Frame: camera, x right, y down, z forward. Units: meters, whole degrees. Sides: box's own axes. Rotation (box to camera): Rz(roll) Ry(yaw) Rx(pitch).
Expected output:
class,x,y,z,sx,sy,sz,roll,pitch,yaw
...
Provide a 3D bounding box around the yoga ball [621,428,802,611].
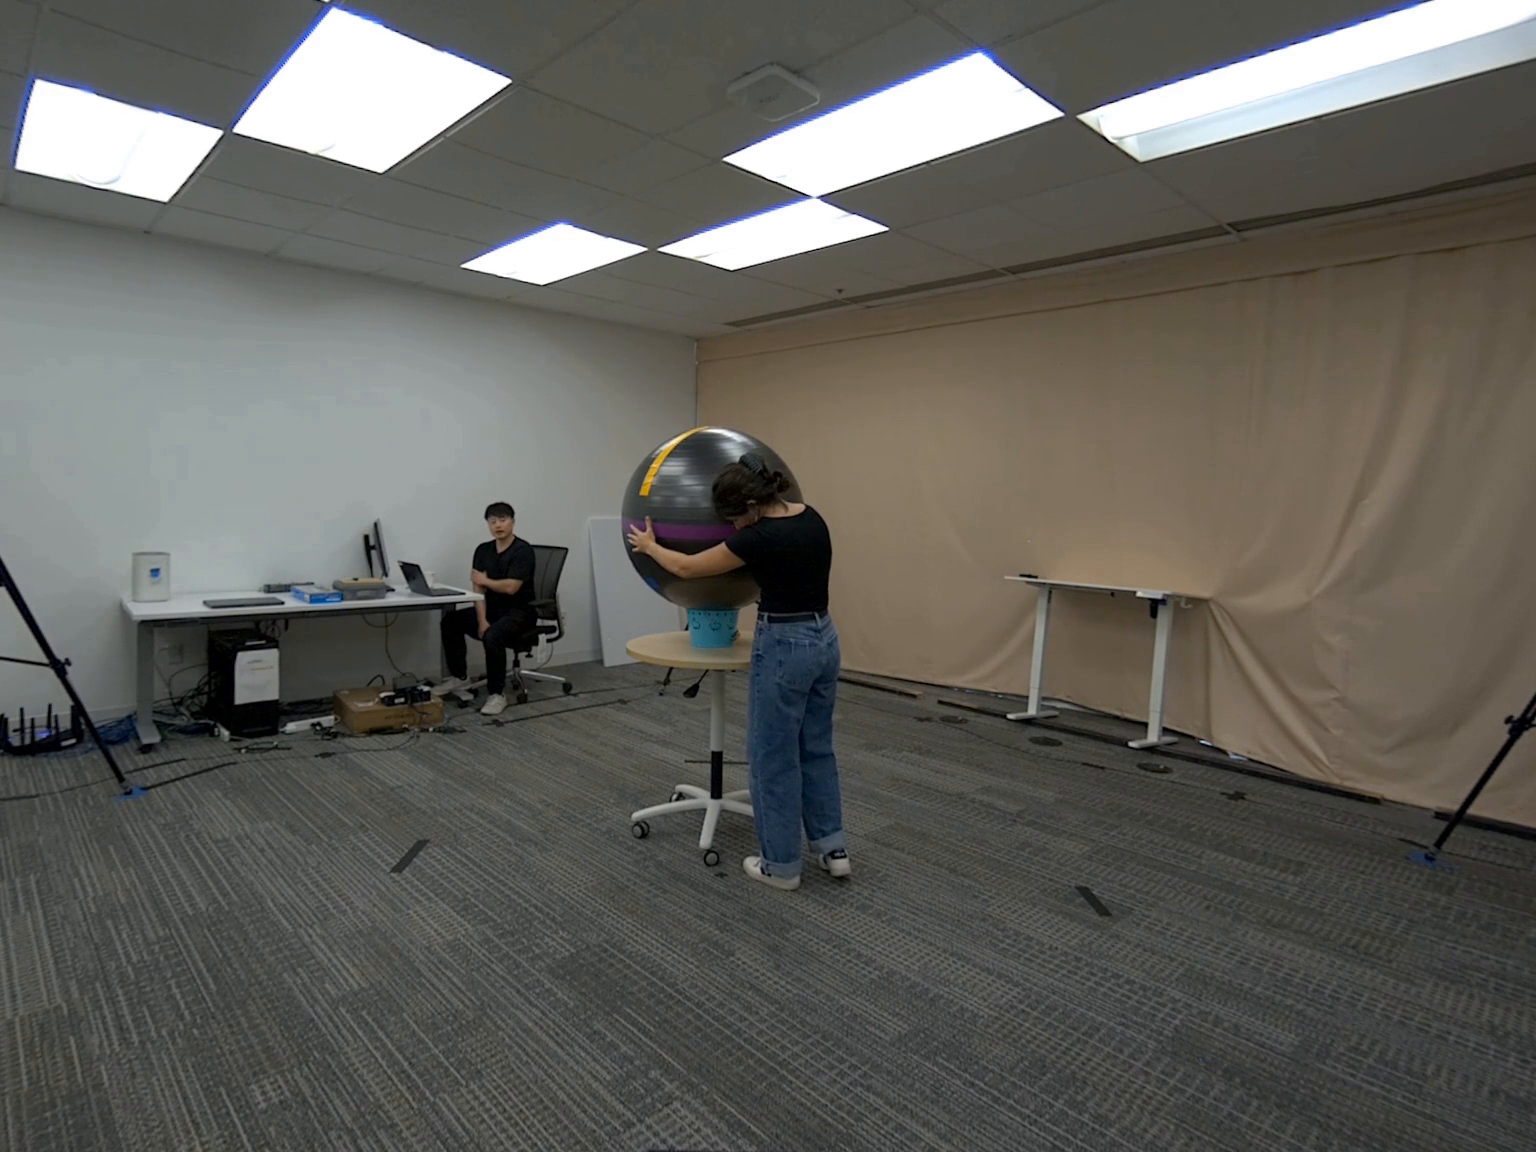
class,x,y,z,sx,sy,sz,roll,pitch,yaw
yoga ball,-0.230,-0.231,3.482,0.757,0.756,0.761,1,4,-1
